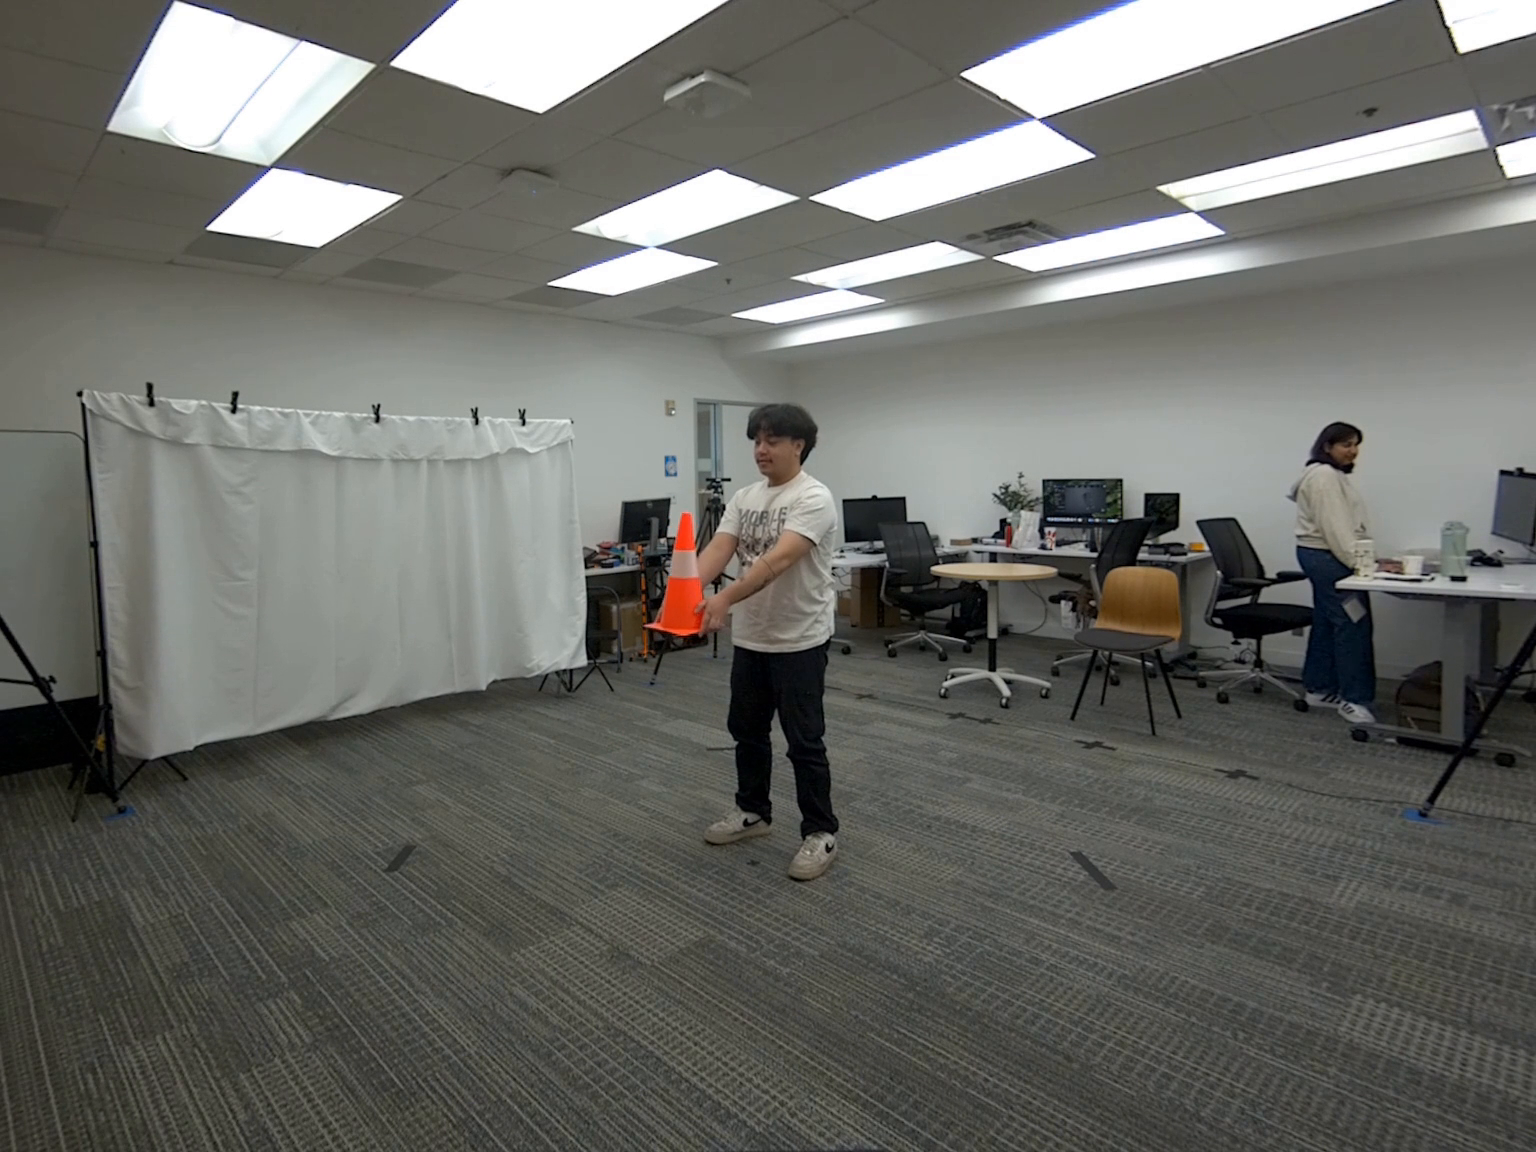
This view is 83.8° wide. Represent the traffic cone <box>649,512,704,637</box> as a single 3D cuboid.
[{"bbox_3d":[-0.273,-0.018,2.821,0.210,0.382,0.200,4,7,24],"label":"traffic cone"}]
